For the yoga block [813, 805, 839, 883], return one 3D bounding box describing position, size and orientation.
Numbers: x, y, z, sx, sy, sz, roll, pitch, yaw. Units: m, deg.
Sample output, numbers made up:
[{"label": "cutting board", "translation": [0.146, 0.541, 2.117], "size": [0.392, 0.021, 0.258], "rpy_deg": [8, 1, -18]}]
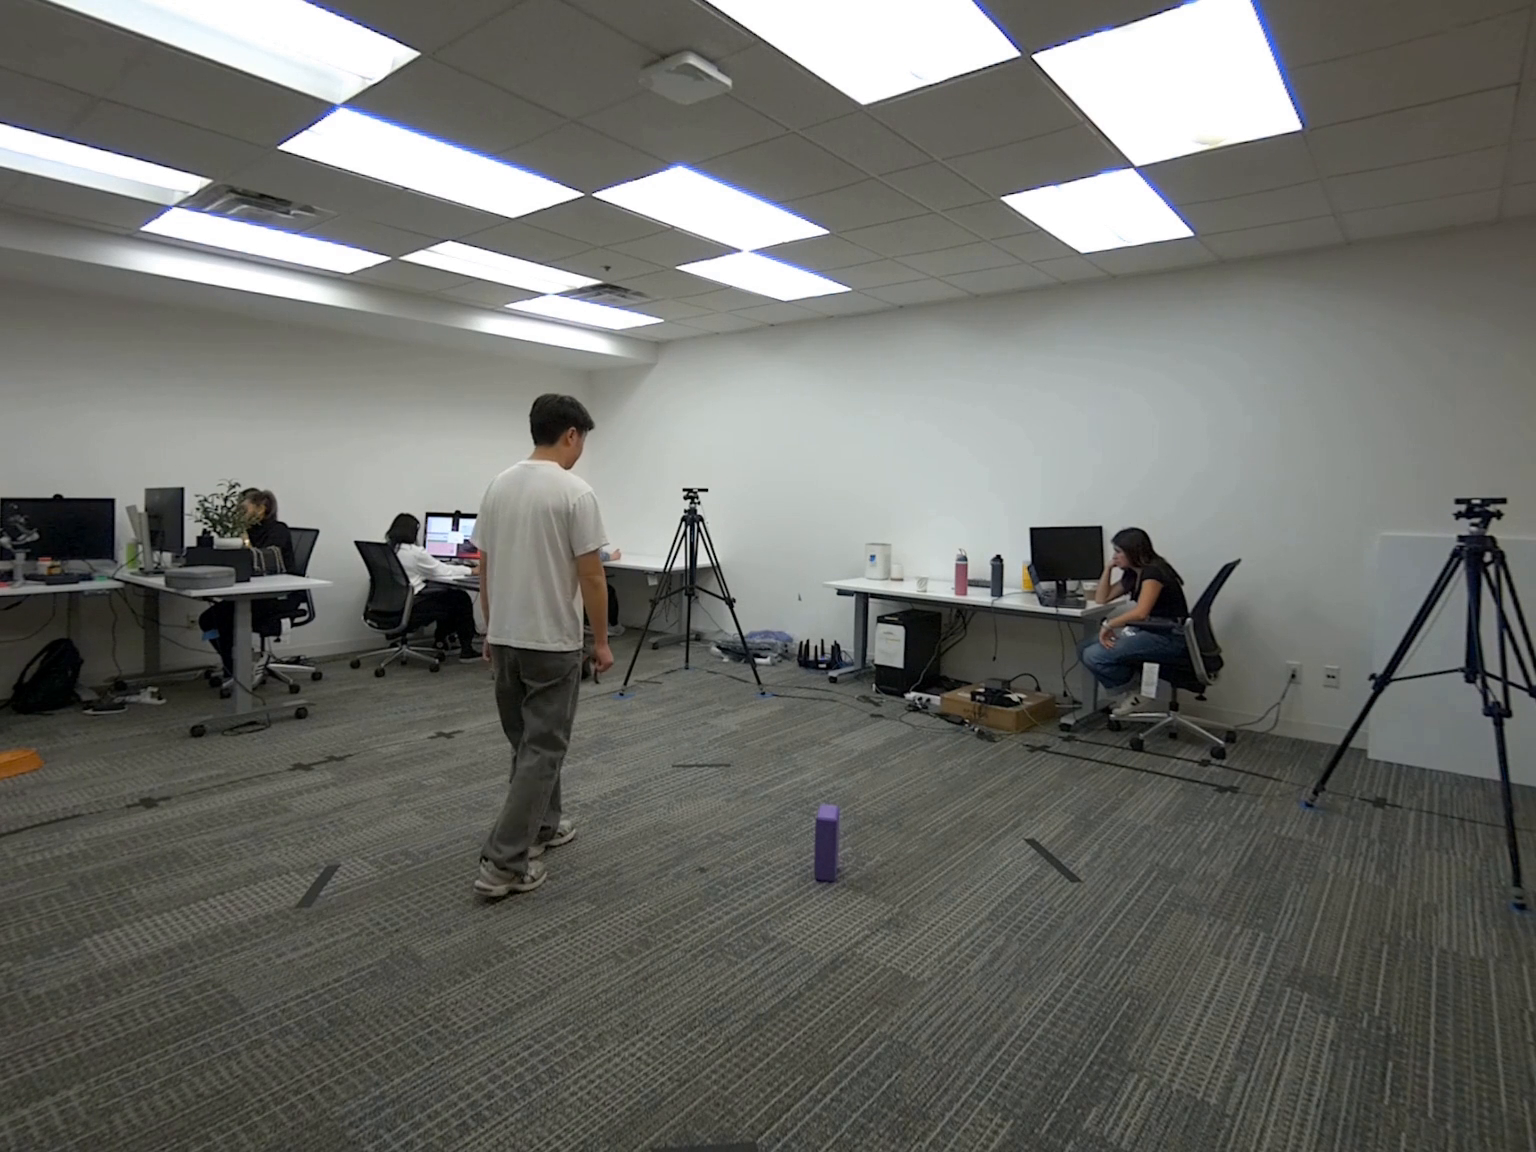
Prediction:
[{"label": "yoga block", "translation": [0.216, 0.962, 3.094], "size": [0.077, 0.229, 0.148], "rpy_deg": [2, 3, 8]}]
